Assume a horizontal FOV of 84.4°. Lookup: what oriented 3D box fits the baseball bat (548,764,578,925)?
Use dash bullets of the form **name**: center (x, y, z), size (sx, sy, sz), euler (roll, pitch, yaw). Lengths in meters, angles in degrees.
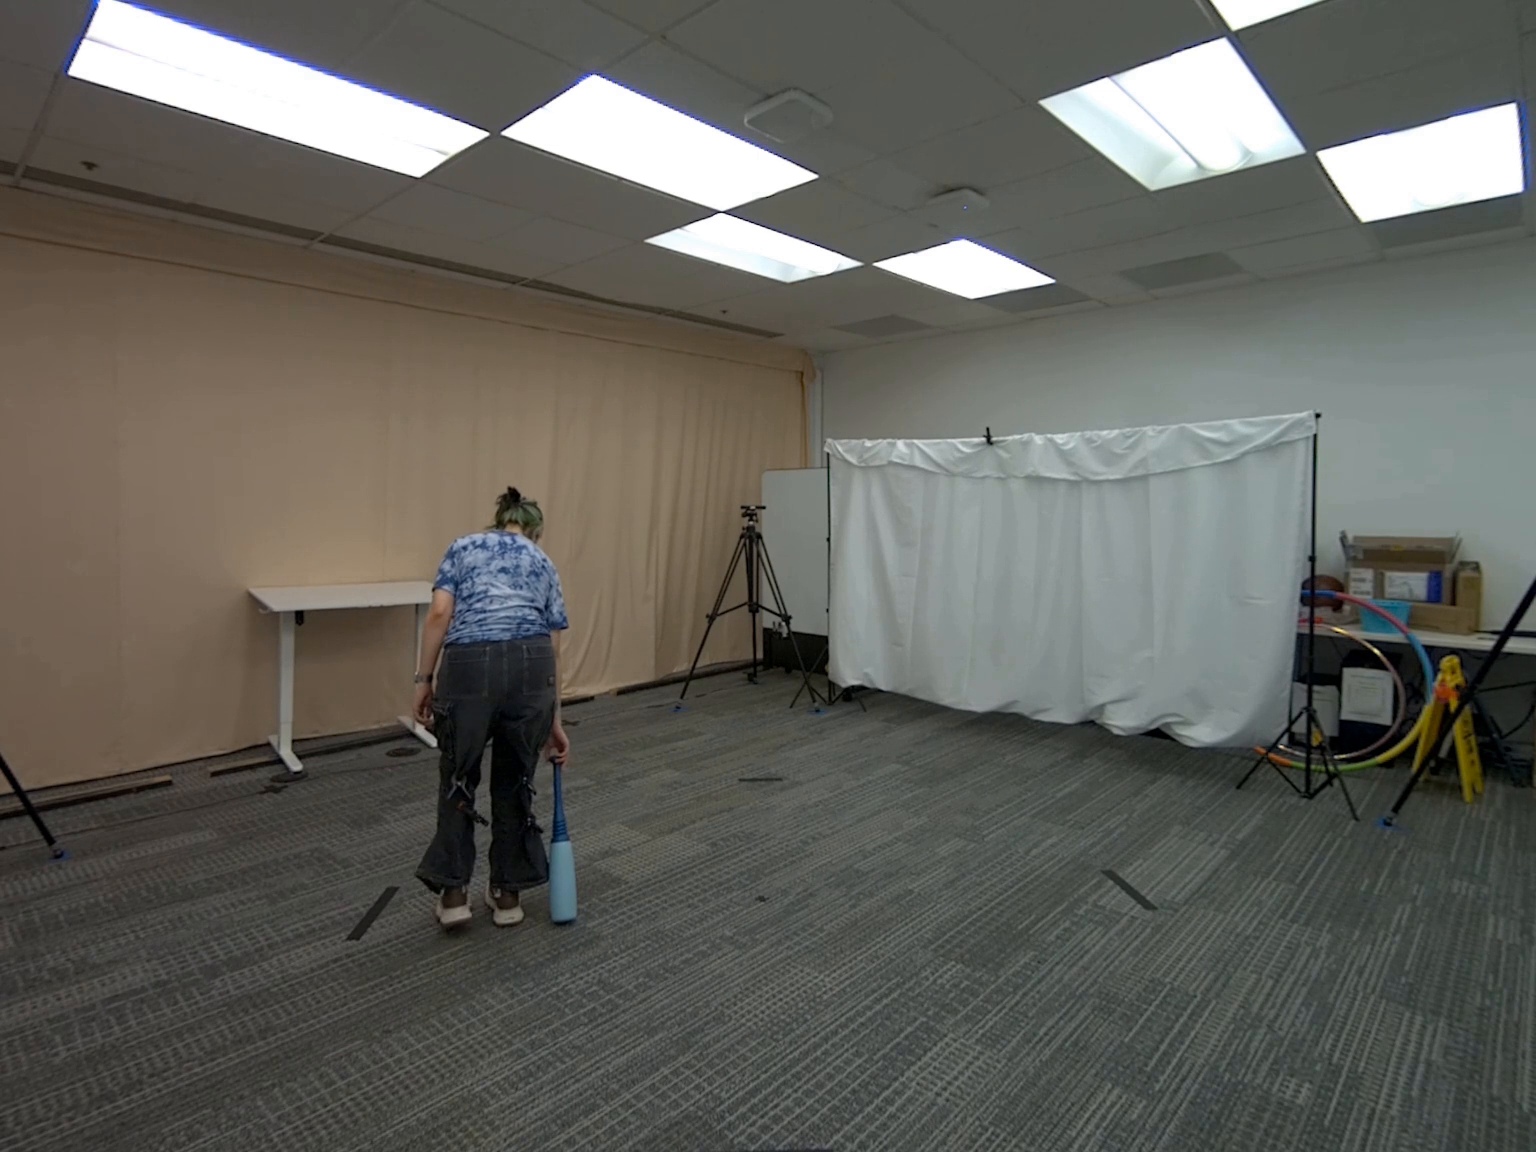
- **baseball bat**: center (-0.721, 0.903, 2.887), size (0.089, 0.550, 0.088), euler (-6, -17, -4)
